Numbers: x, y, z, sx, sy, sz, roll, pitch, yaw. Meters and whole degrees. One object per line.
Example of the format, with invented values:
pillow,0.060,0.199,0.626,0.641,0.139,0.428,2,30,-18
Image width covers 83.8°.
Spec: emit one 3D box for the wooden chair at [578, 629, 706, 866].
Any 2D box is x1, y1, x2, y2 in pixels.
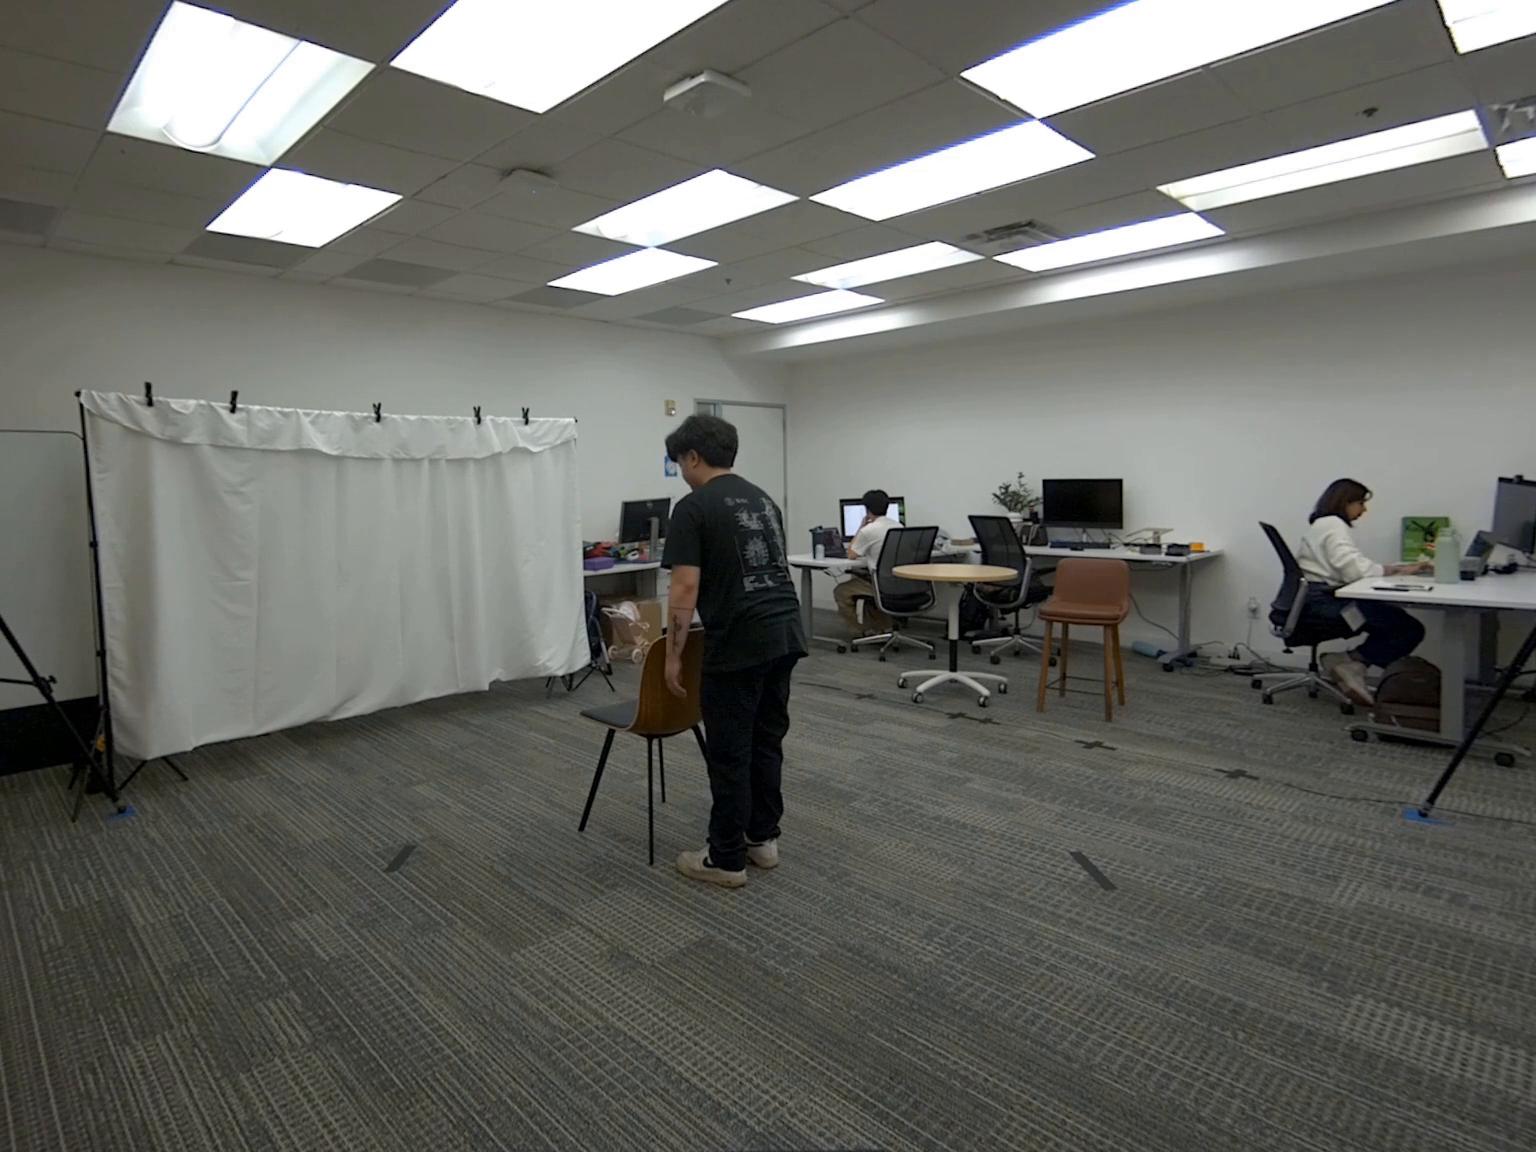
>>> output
wooden chair,-0.452,0.590,3.382,0.540,0.872,0.465,9,10,43
